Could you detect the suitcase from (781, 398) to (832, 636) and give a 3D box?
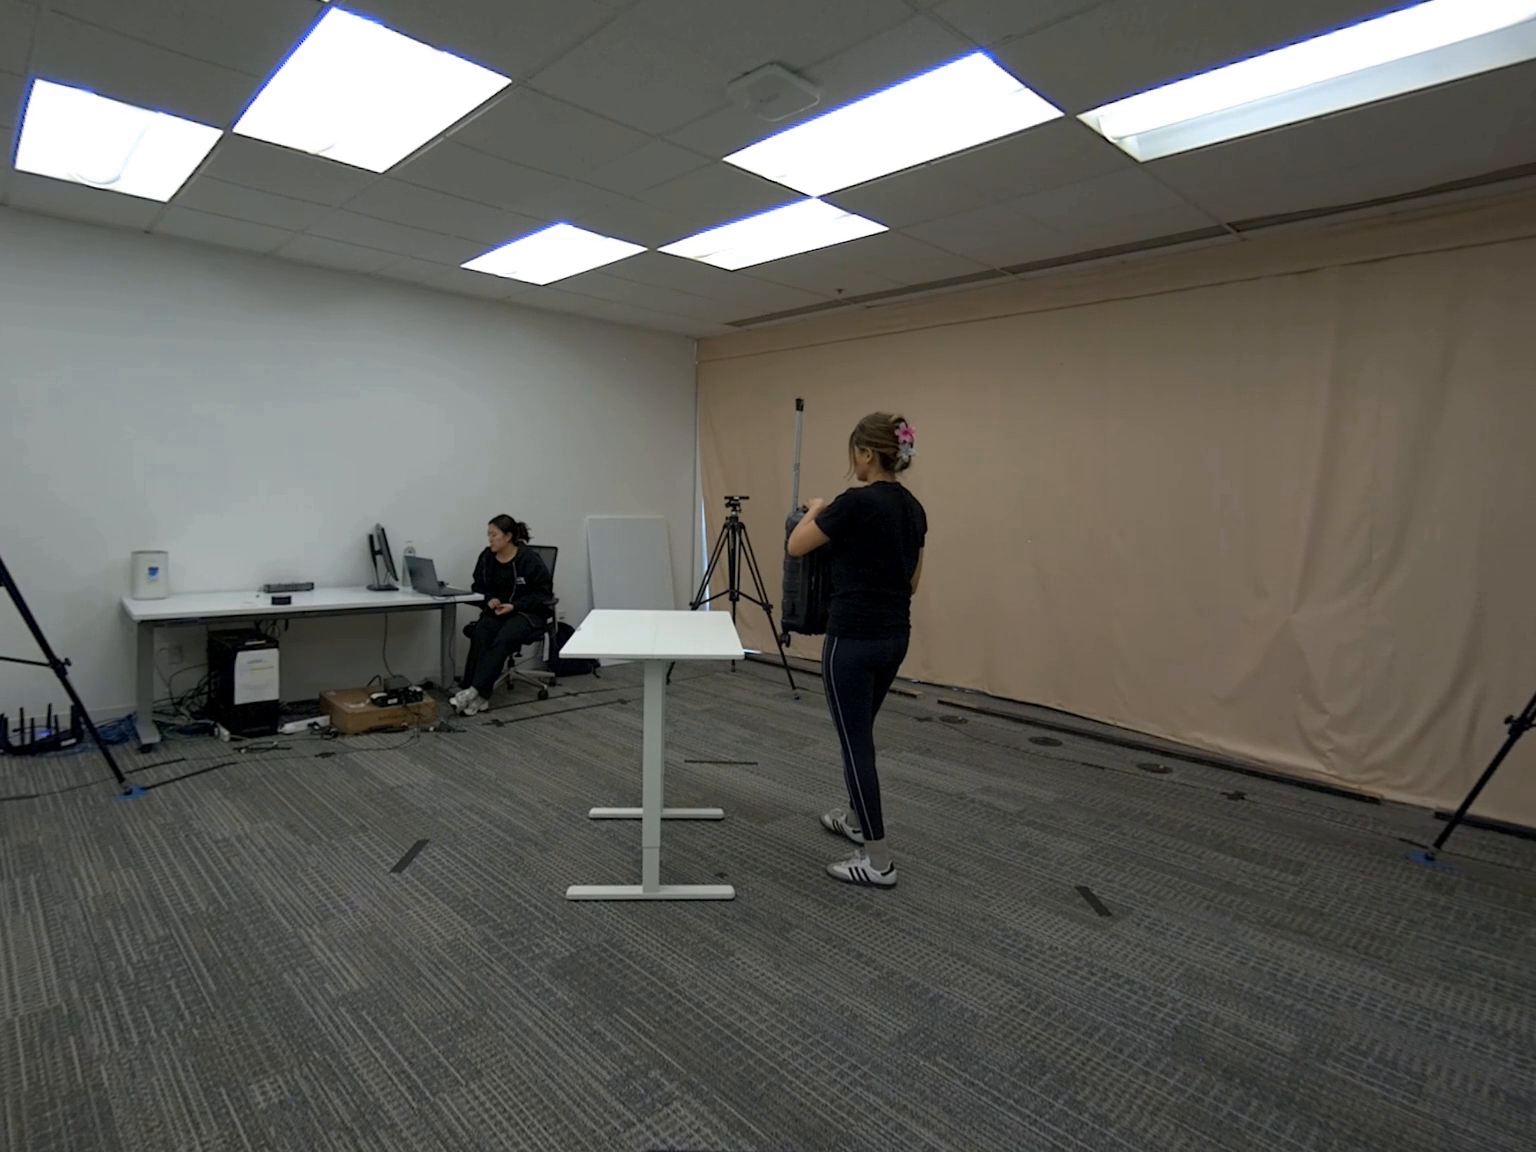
[{"bbox_3d":[0.203,-0.225,3.434,0.259,0.973,0.383,7,9,10],"label":"suitcase"}]
